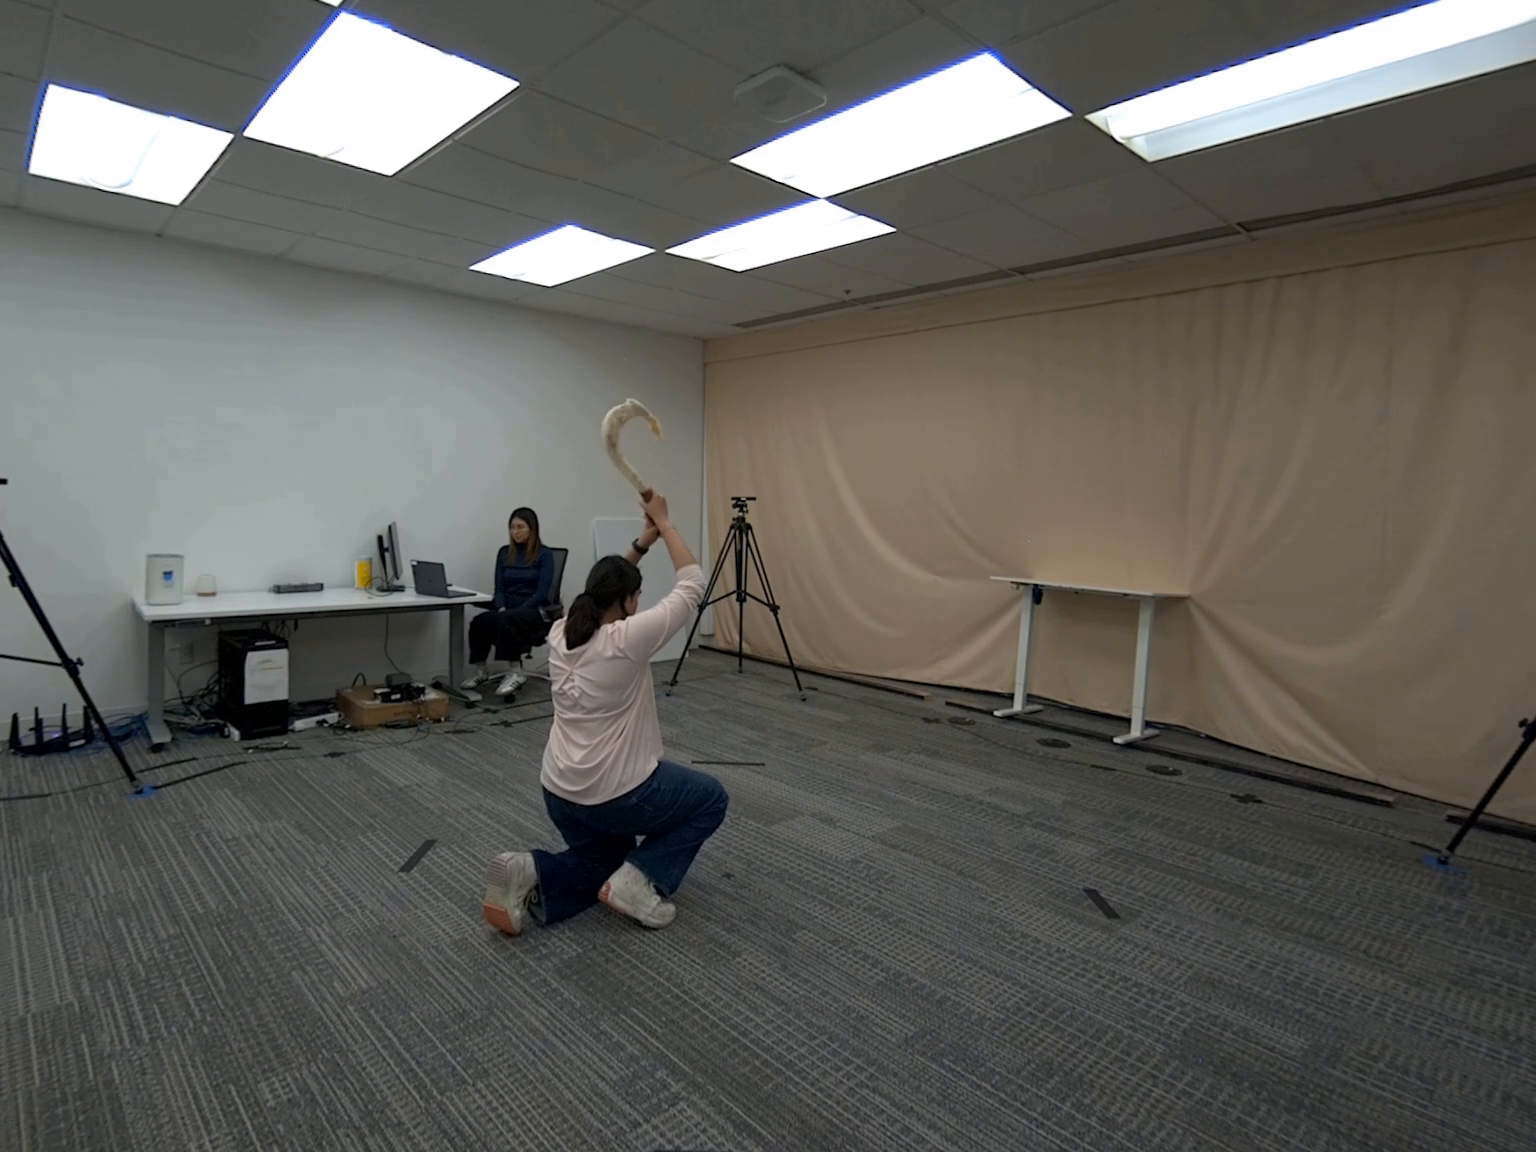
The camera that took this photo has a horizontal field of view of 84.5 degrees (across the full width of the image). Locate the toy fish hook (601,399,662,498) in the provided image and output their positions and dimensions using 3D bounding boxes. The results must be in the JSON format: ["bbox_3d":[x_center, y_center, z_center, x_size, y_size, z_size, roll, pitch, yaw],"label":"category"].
[{"bbox_3d":[-0.427,-0.355,2.911,0.223,0.494,0.050,-37,35,-25],"label":"toy fish hook"}]
